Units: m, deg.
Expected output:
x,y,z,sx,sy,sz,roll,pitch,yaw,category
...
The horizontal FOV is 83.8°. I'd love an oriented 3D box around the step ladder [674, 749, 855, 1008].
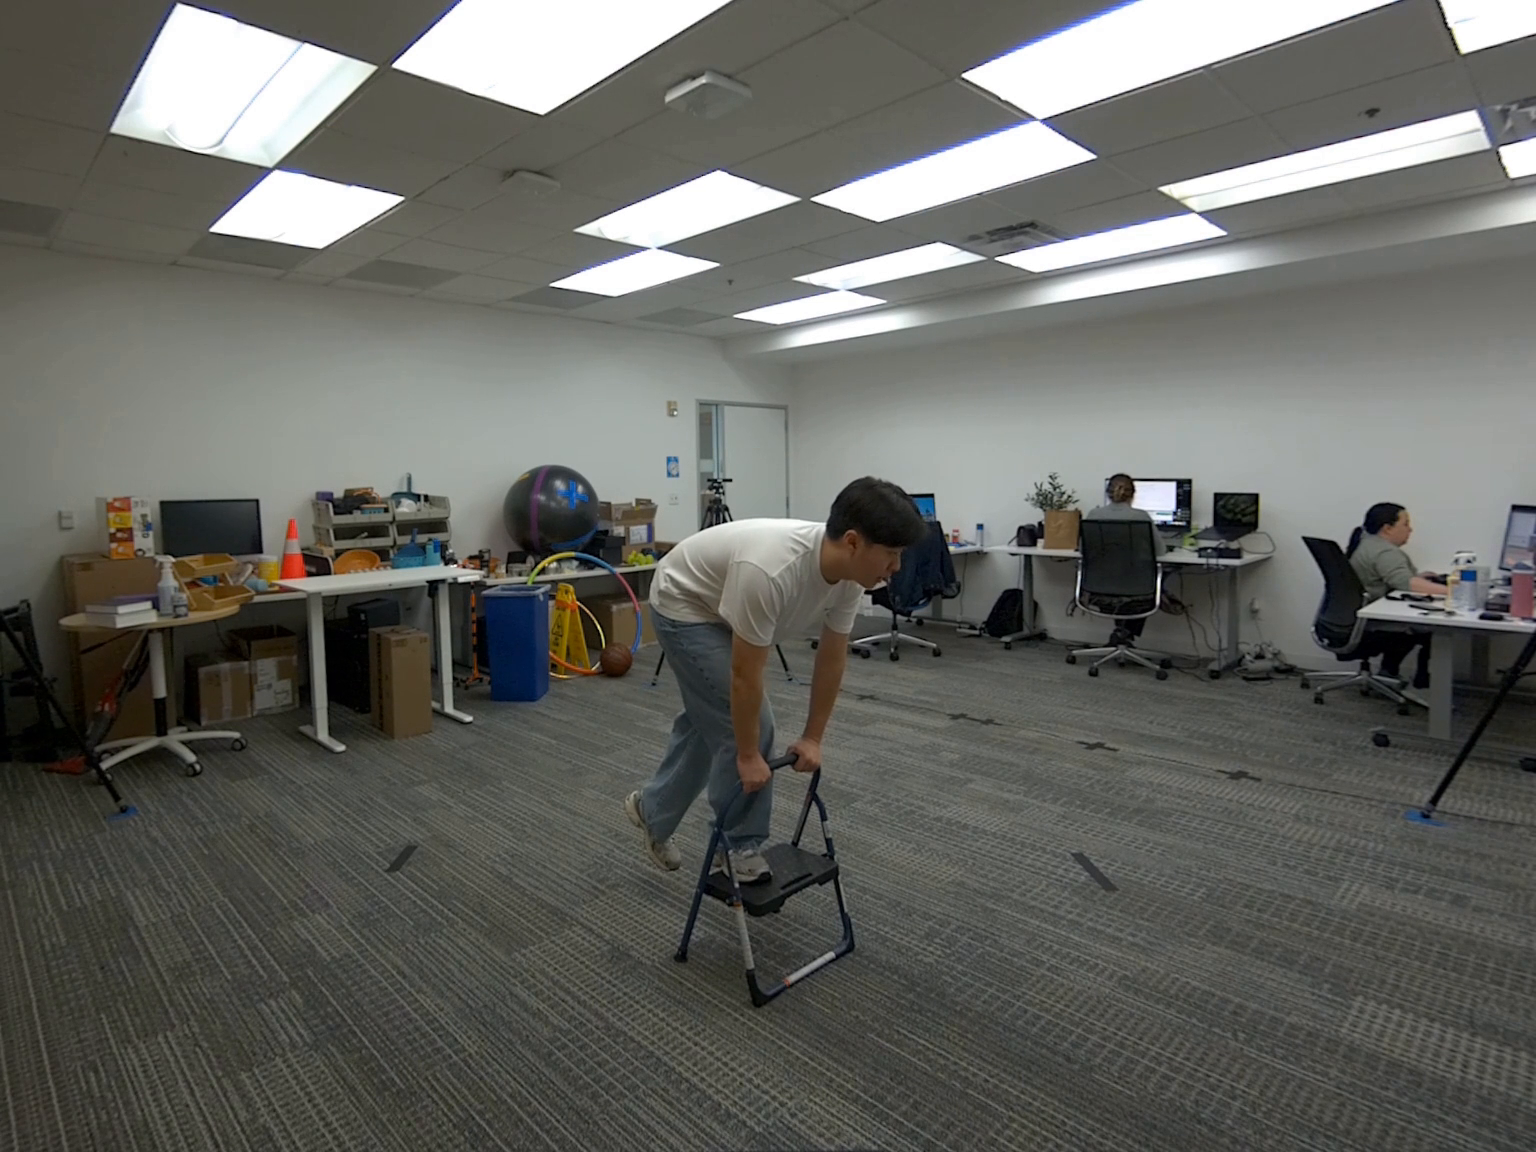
x,y,z,sx,sy,sz,roll,pitch,yaw,category
-0.005,0.812,2.498,0.360,0.604,0.419,3,6,45,step ladder
